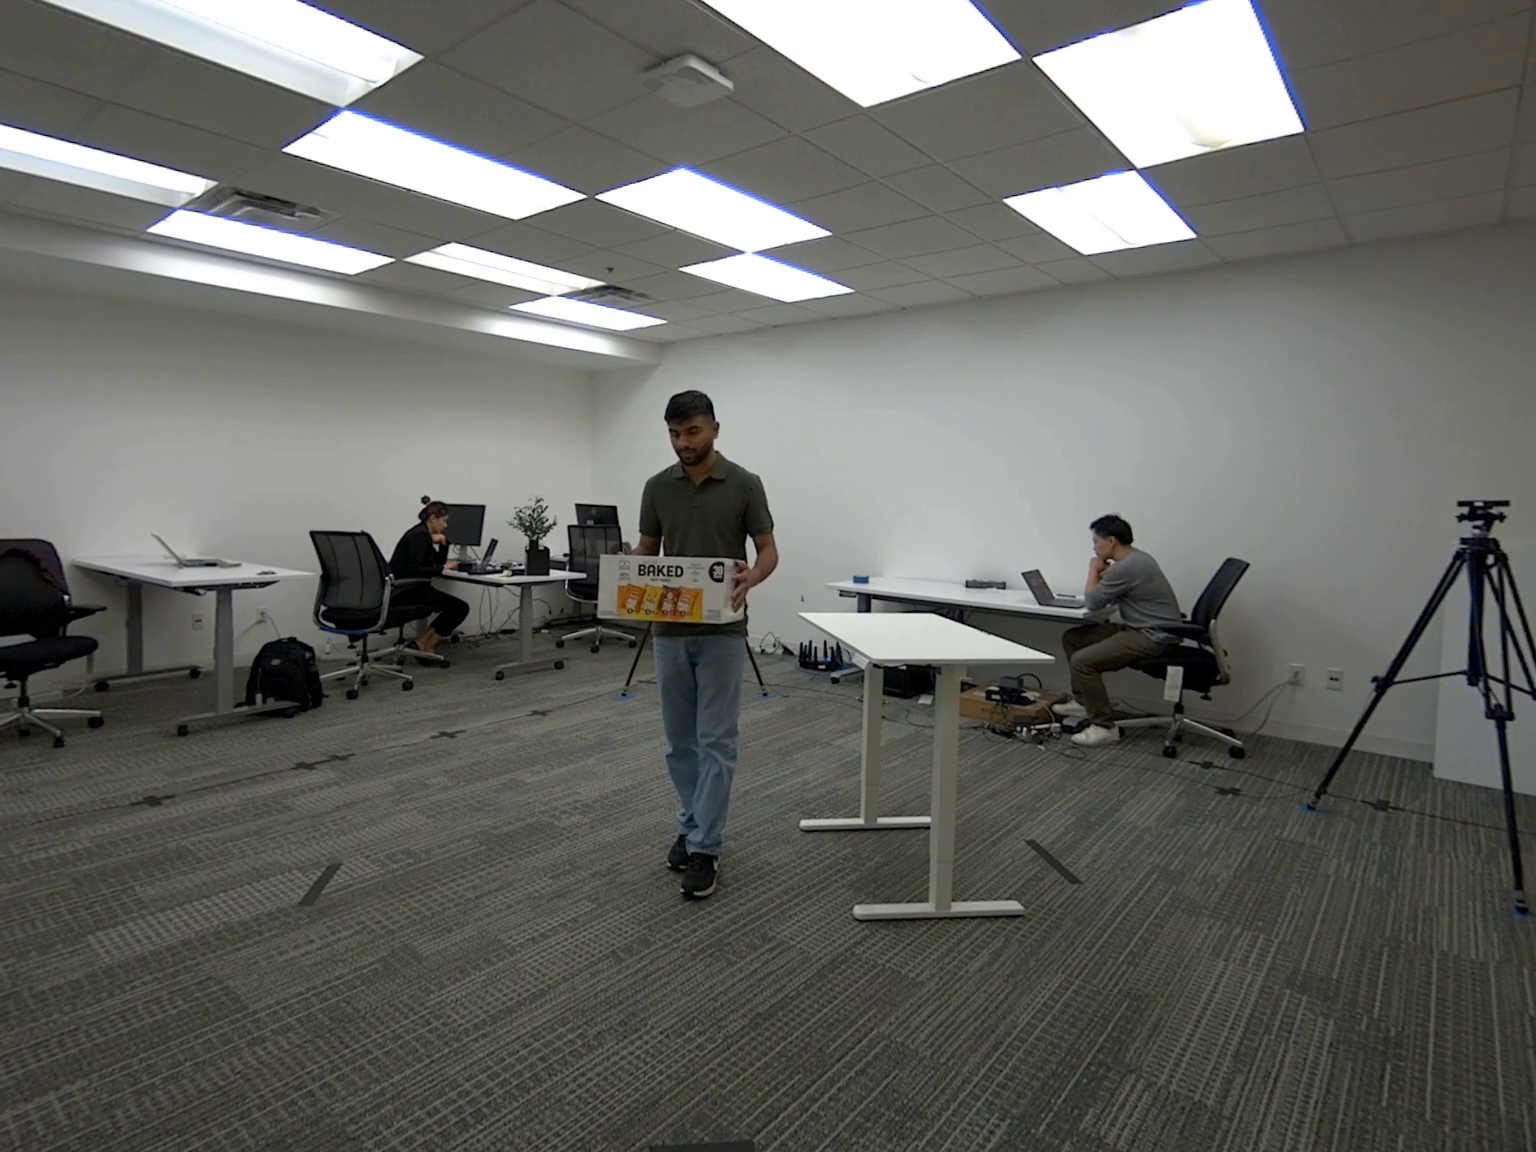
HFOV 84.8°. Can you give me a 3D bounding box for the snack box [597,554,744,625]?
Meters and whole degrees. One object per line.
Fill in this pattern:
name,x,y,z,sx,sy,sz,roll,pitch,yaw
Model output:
snack box,-0.312,0.037,2.803,0.410,0.206,0.336,2,-1,11
